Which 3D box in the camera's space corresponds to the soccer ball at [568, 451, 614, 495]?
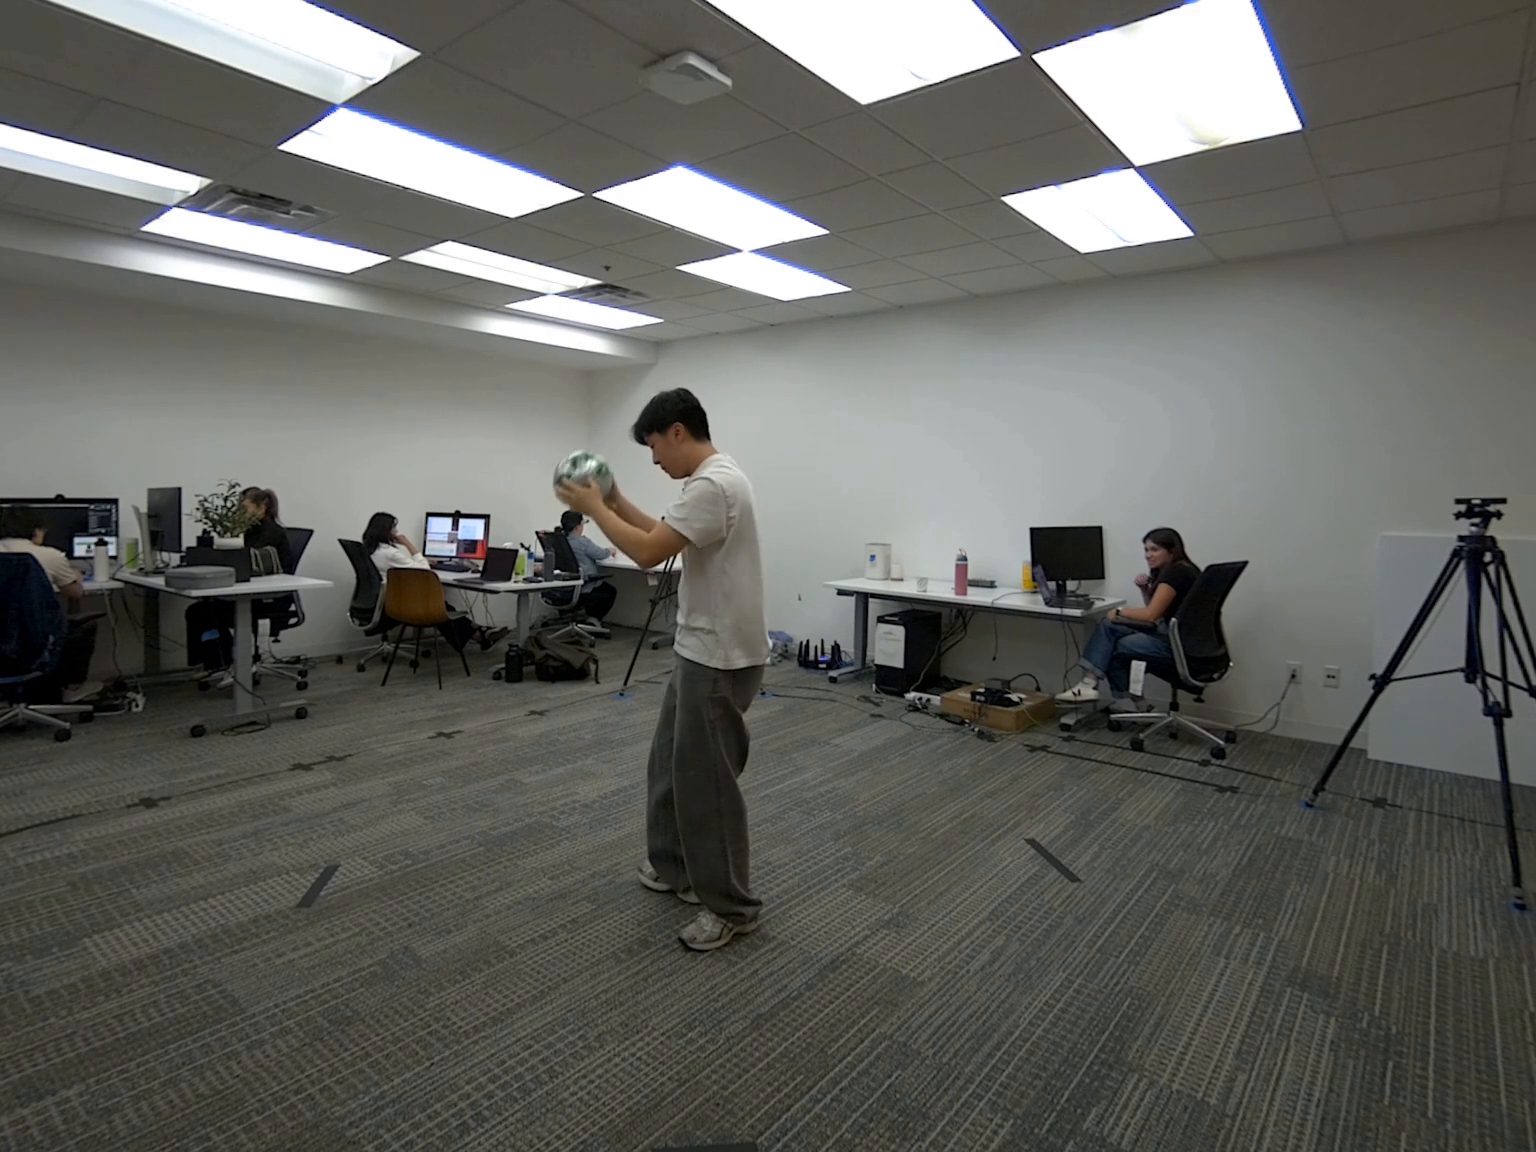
[{"bbox_3d":[-0.516,-0.349,2.743,0.187,0.187,0.188,1,4,-2],"label":"soccer ball"}]
